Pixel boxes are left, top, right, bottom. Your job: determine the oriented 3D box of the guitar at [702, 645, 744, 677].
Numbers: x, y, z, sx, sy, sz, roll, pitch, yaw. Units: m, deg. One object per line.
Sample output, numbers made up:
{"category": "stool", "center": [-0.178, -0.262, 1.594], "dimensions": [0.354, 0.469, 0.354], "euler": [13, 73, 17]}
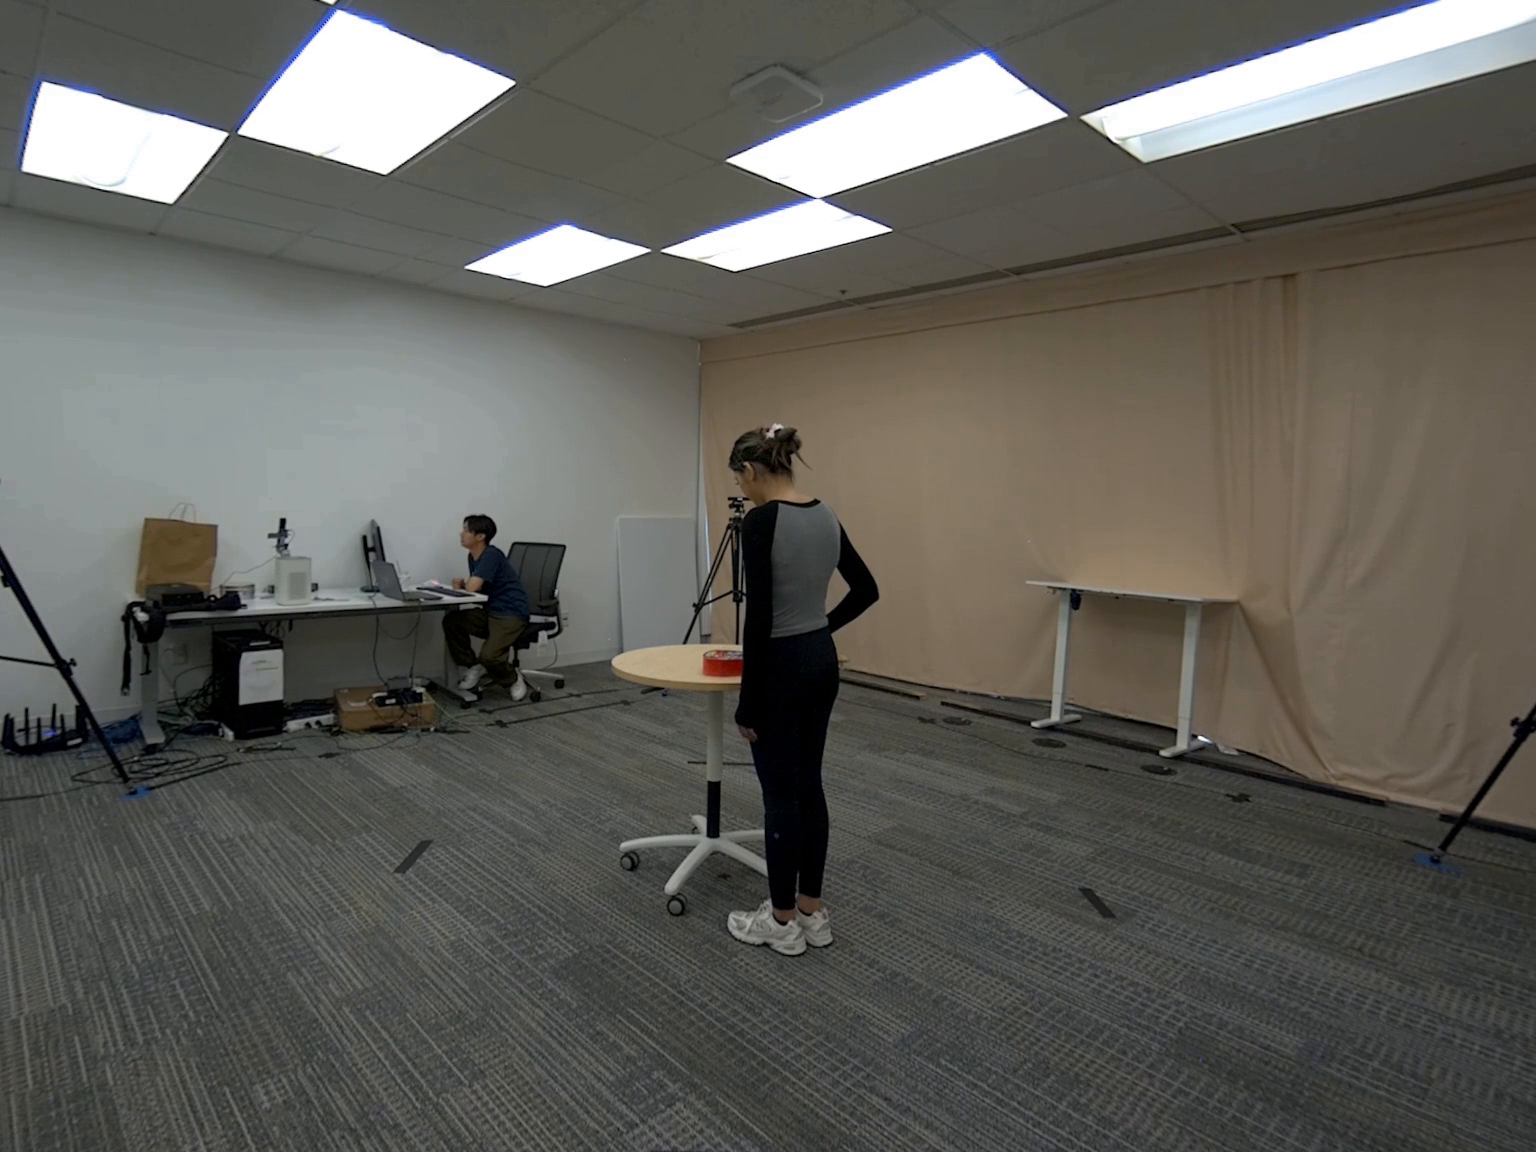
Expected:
{"category": "guitar", "center": [0.009, 0.306, 2.849], "dimensions": [0.505, 0.070, 0.191], "euler": [2, 5, 17]}
